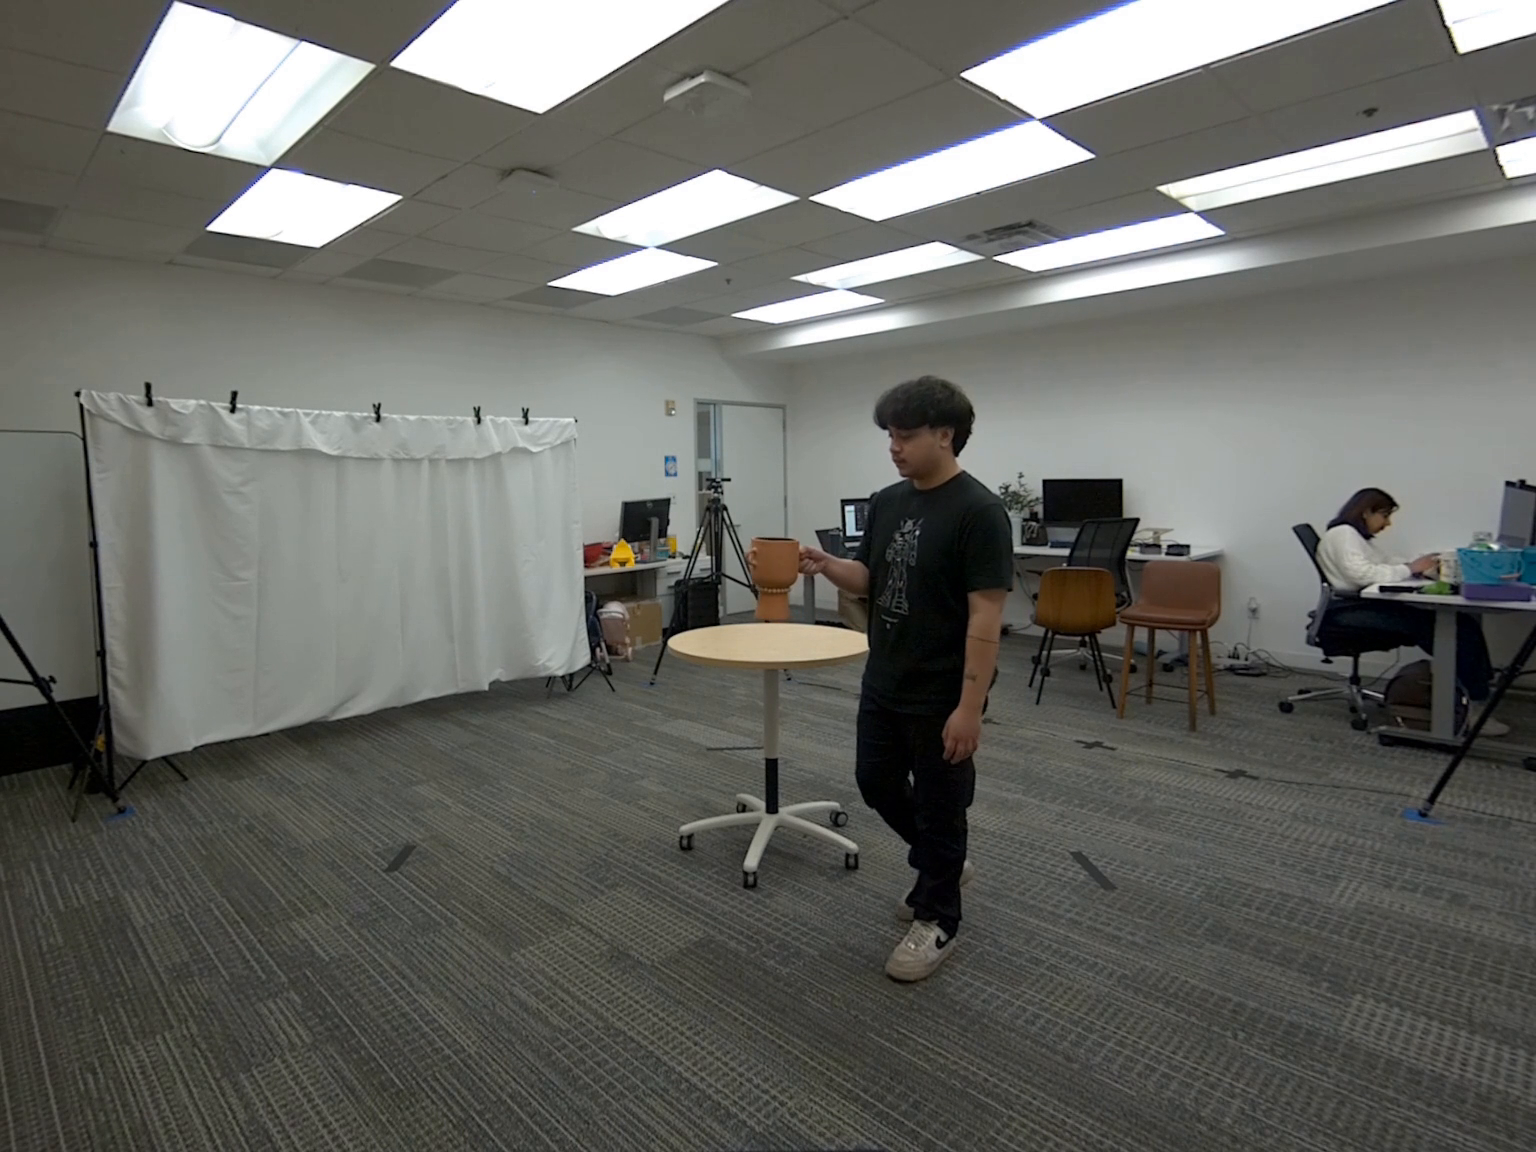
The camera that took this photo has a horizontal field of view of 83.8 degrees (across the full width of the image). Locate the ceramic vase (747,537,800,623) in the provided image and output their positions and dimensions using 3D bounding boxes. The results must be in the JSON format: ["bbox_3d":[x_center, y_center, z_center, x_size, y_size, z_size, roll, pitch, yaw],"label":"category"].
[{"bbox_3d":[0.036,0.007,2.359,0.159,0.219,0.134,3,4,4],"label":"ceramic vase"}]
